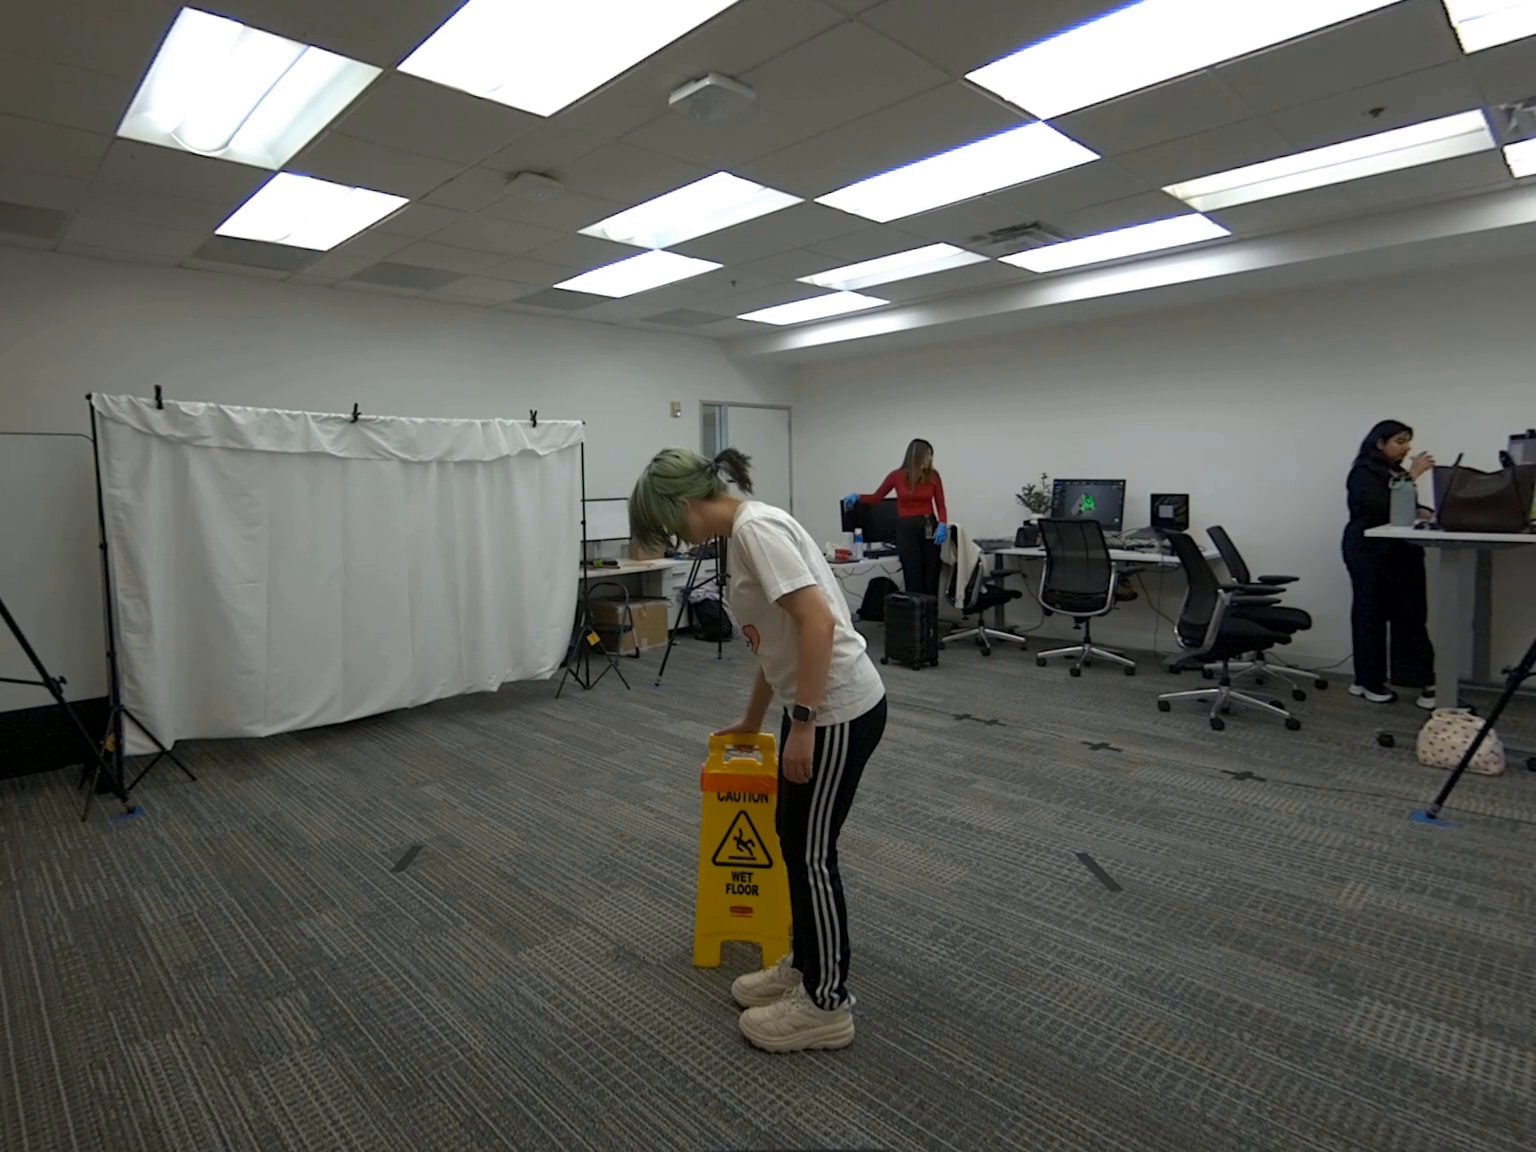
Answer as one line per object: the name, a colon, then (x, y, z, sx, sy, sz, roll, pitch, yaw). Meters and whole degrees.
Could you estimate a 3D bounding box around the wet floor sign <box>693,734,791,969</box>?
wet floor sign: (-0.073, 0.785, 2.545, 0.284, 0.644, 0.289, 1, 3, 6)
